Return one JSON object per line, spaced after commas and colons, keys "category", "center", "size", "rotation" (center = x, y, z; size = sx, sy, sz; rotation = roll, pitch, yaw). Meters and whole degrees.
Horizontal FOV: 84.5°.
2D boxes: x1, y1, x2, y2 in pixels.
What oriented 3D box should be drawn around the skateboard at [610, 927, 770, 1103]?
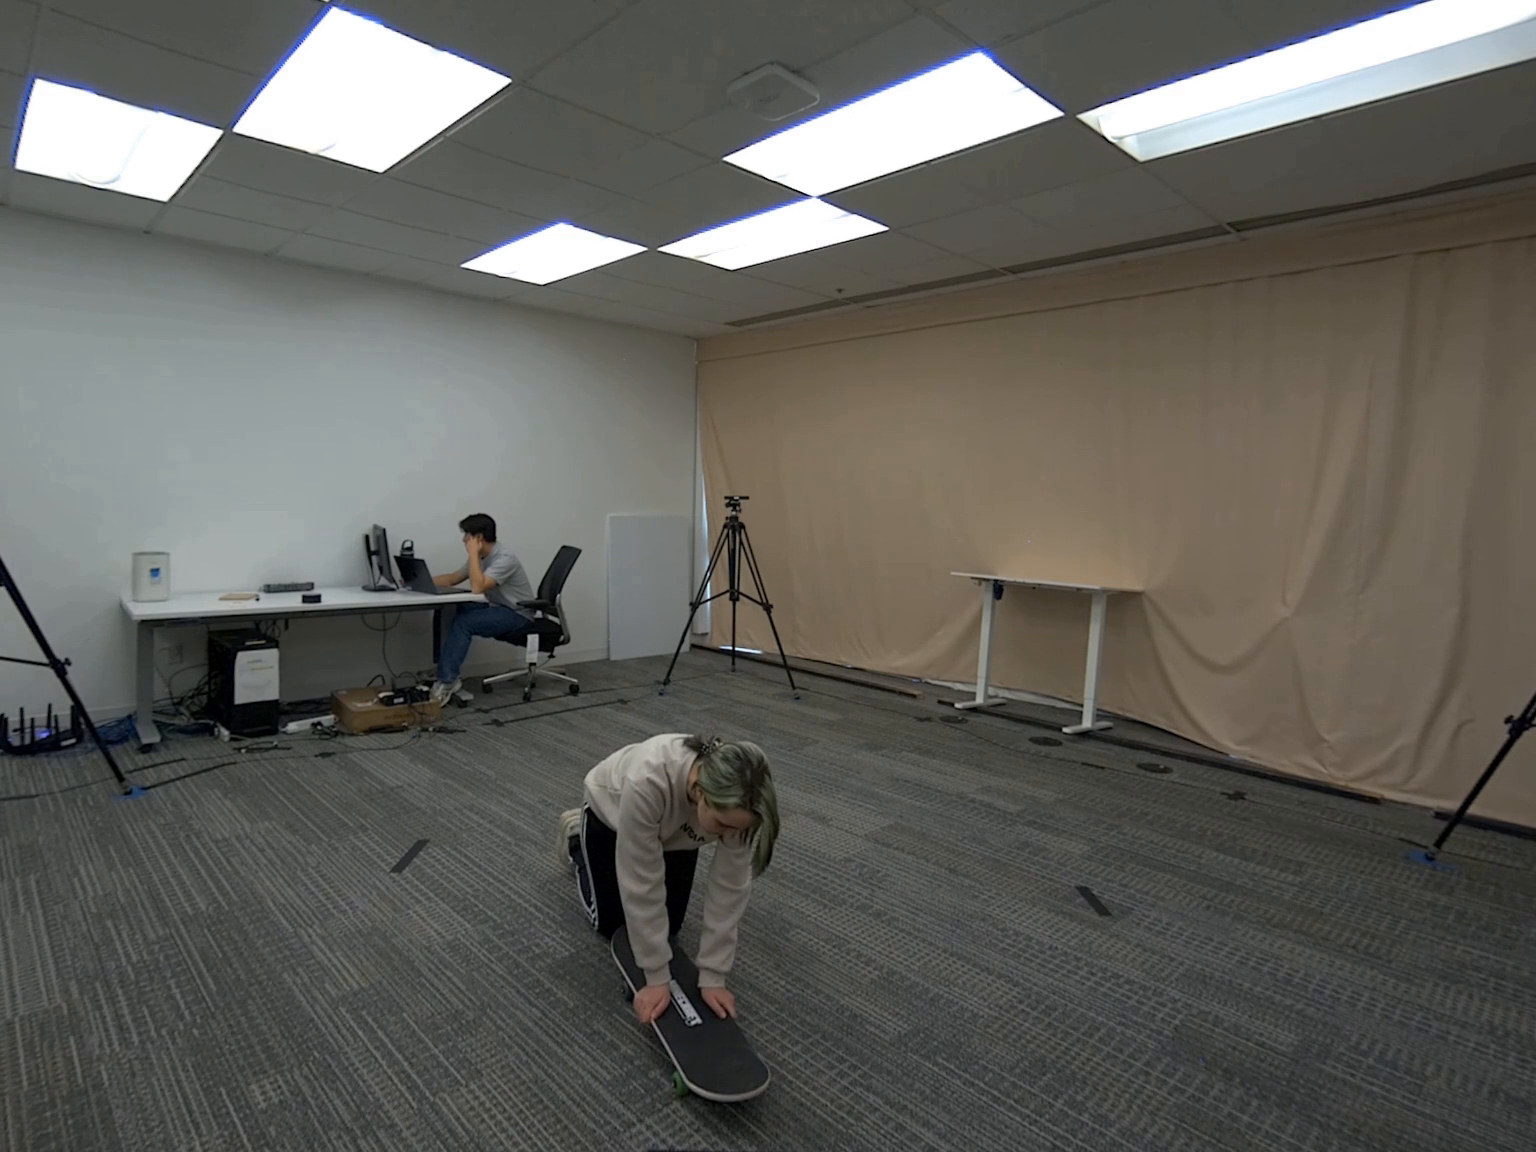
{"category": "skateboard", "center": [-0.238, 1.139, 2.171], "size": [0.190, 0.110, 0.802], "rotation": [0, 6, -26]}
